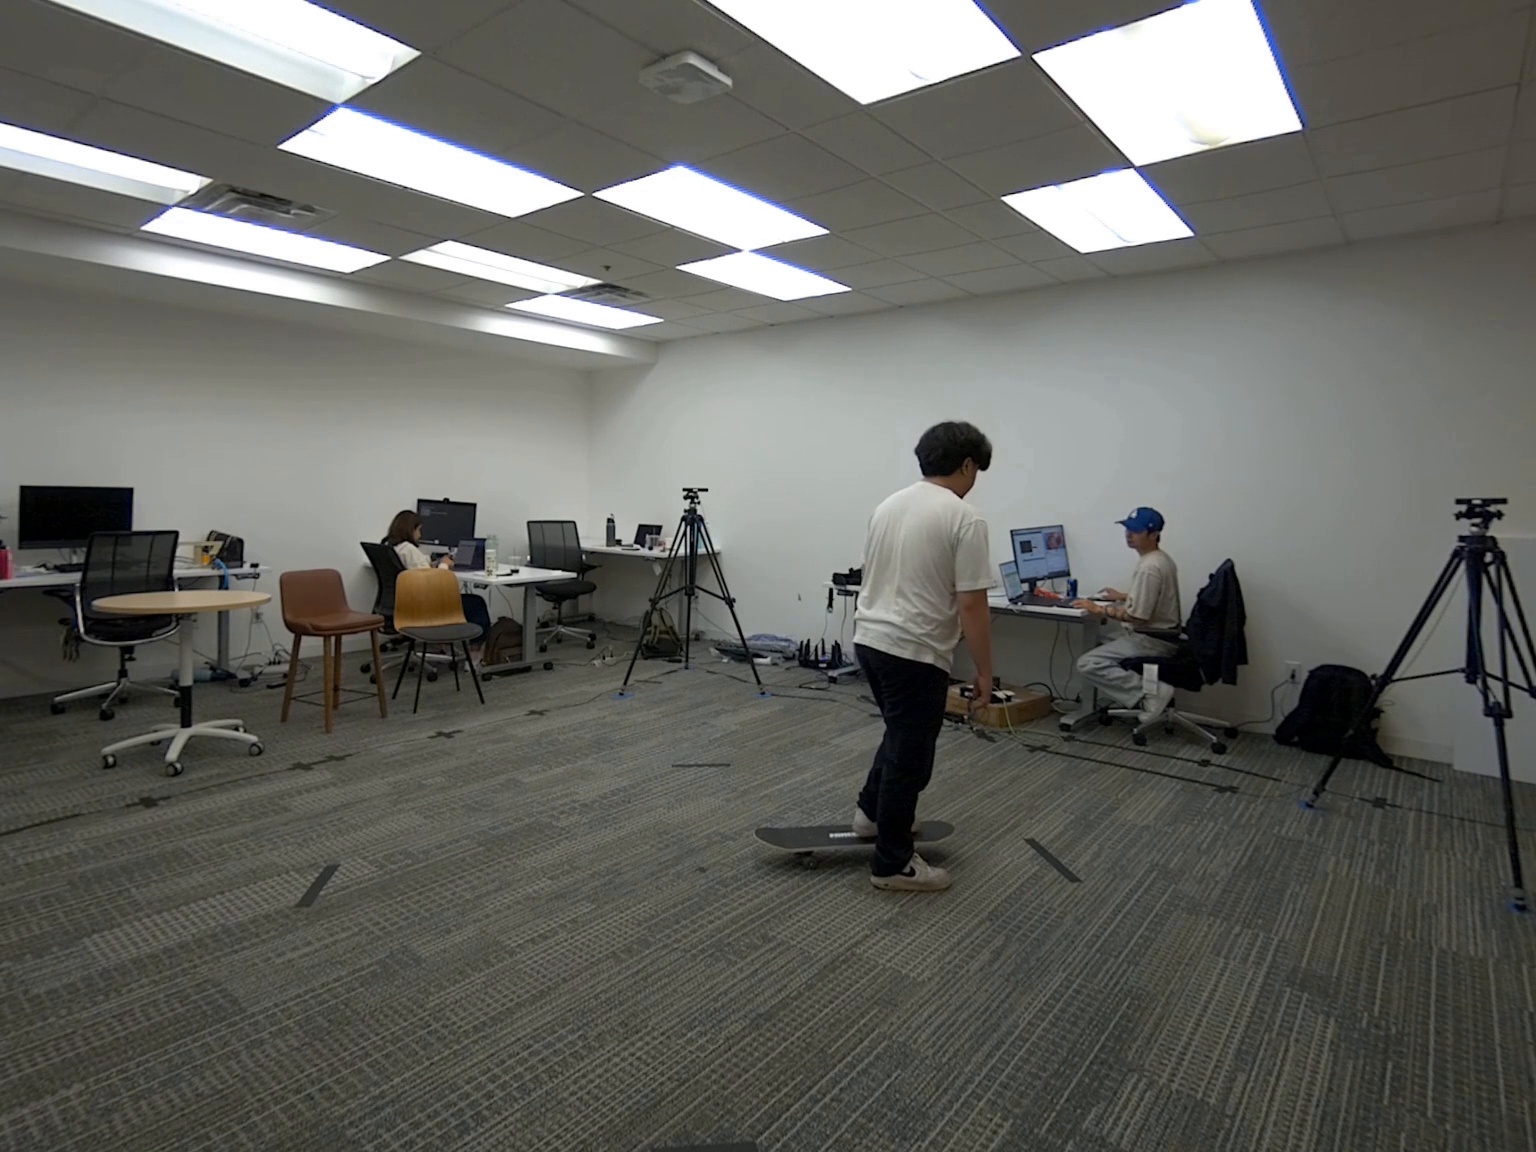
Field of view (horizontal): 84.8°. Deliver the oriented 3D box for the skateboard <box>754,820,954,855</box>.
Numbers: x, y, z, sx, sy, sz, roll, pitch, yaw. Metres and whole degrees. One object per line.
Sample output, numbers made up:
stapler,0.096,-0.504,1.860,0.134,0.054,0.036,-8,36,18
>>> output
skateboard,0.317,1.007,3.236,0.777,0.110,0.196,0,5,-9
